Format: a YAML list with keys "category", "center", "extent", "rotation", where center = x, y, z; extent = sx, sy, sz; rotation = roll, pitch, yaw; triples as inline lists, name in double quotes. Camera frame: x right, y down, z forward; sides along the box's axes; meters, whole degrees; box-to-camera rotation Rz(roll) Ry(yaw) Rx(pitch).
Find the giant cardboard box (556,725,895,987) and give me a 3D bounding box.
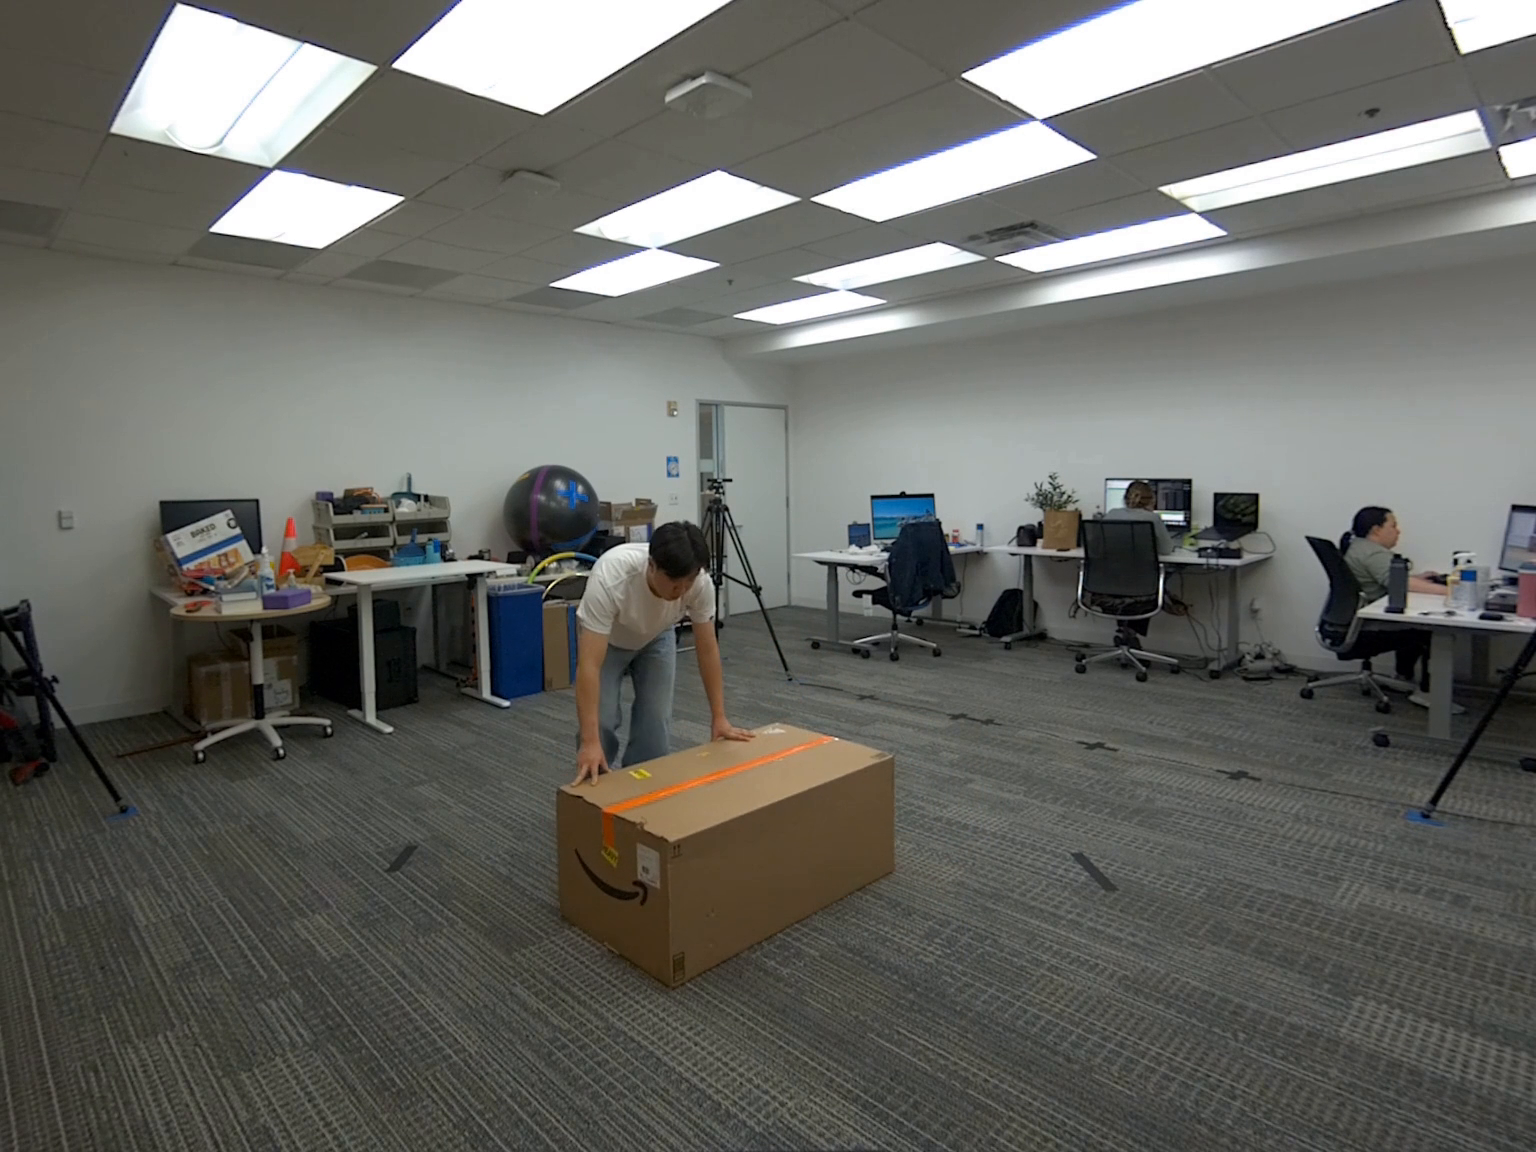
- category: "giant cardboard box"
  center: [-0.113, 0.860, 2.876]
  extent: [0.999, 0.424, 0.595]
  rotation: [-7, 7, -43]
